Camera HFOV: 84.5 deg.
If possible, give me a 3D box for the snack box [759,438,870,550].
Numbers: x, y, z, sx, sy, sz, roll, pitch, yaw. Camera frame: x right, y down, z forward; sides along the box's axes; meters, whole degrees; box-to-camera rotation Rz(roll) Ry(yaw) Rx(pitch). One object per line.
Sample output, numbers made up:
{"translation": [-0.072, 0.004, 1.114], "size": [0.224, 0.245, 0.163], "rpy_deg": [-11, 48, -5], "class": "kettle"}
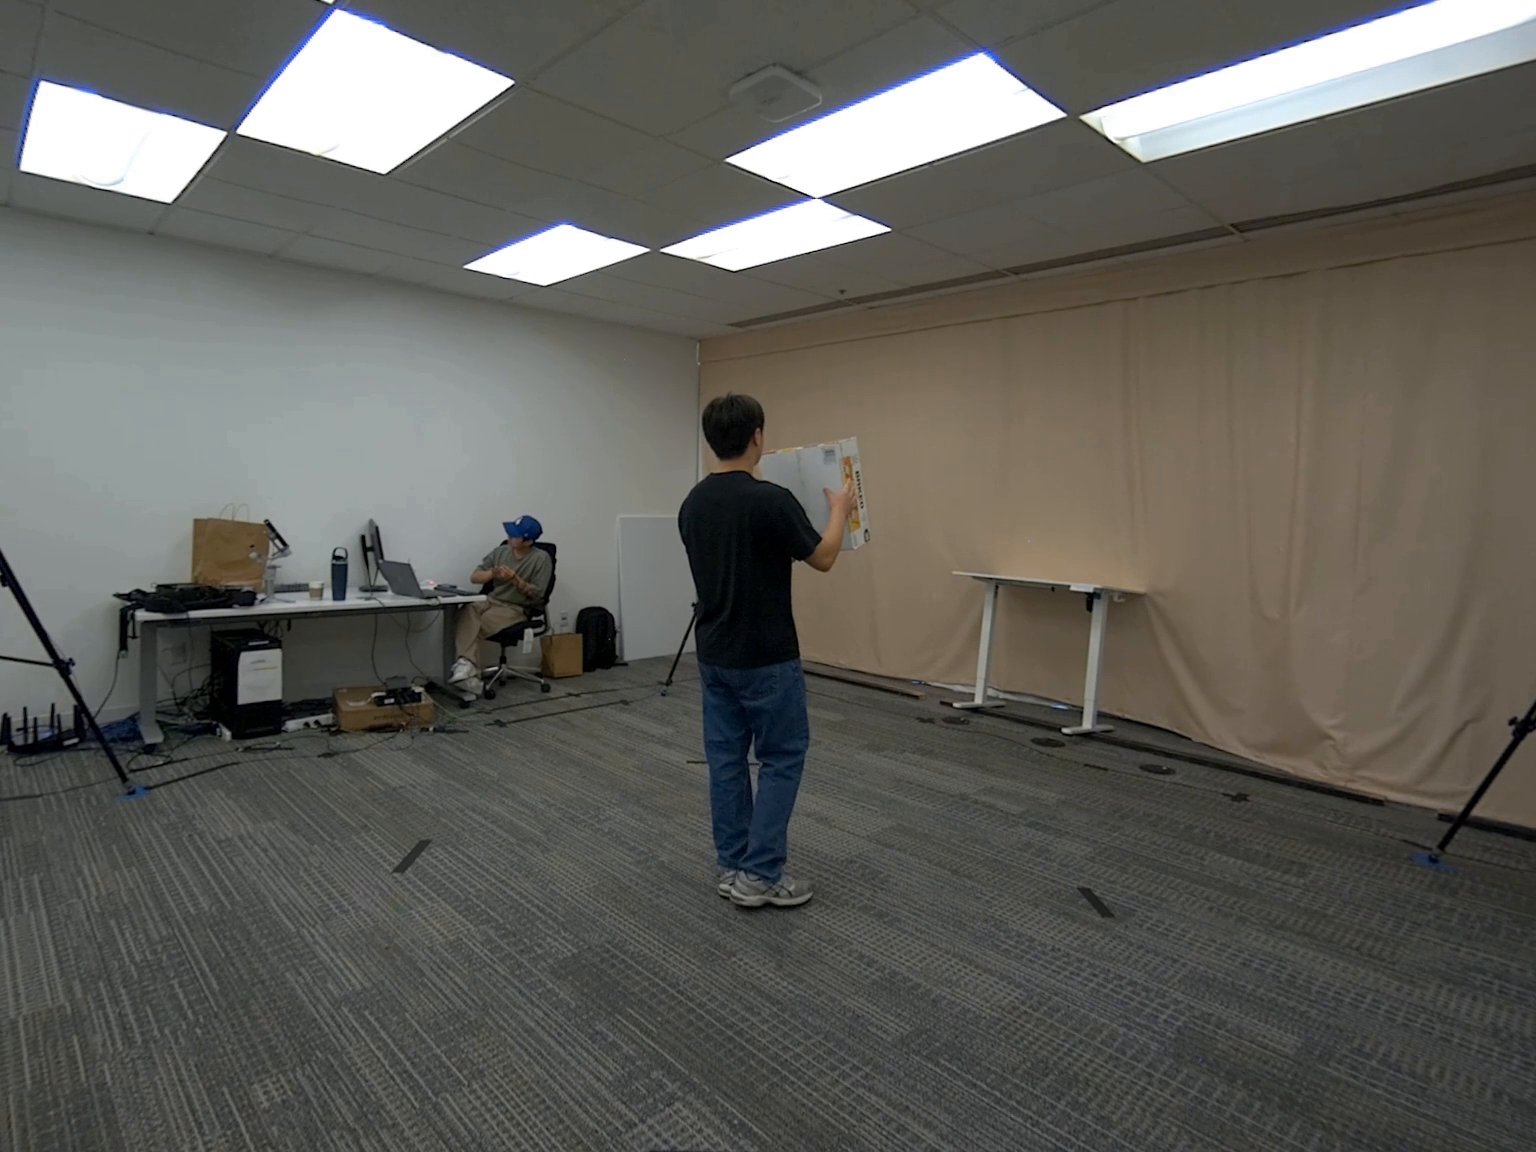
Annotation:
{"translation": [0.173, -0.306, 3.256], "size": [0.346, 0.402, 0.204], "rpy_deg": [-6, 10, 26], "class": "snack box"}
